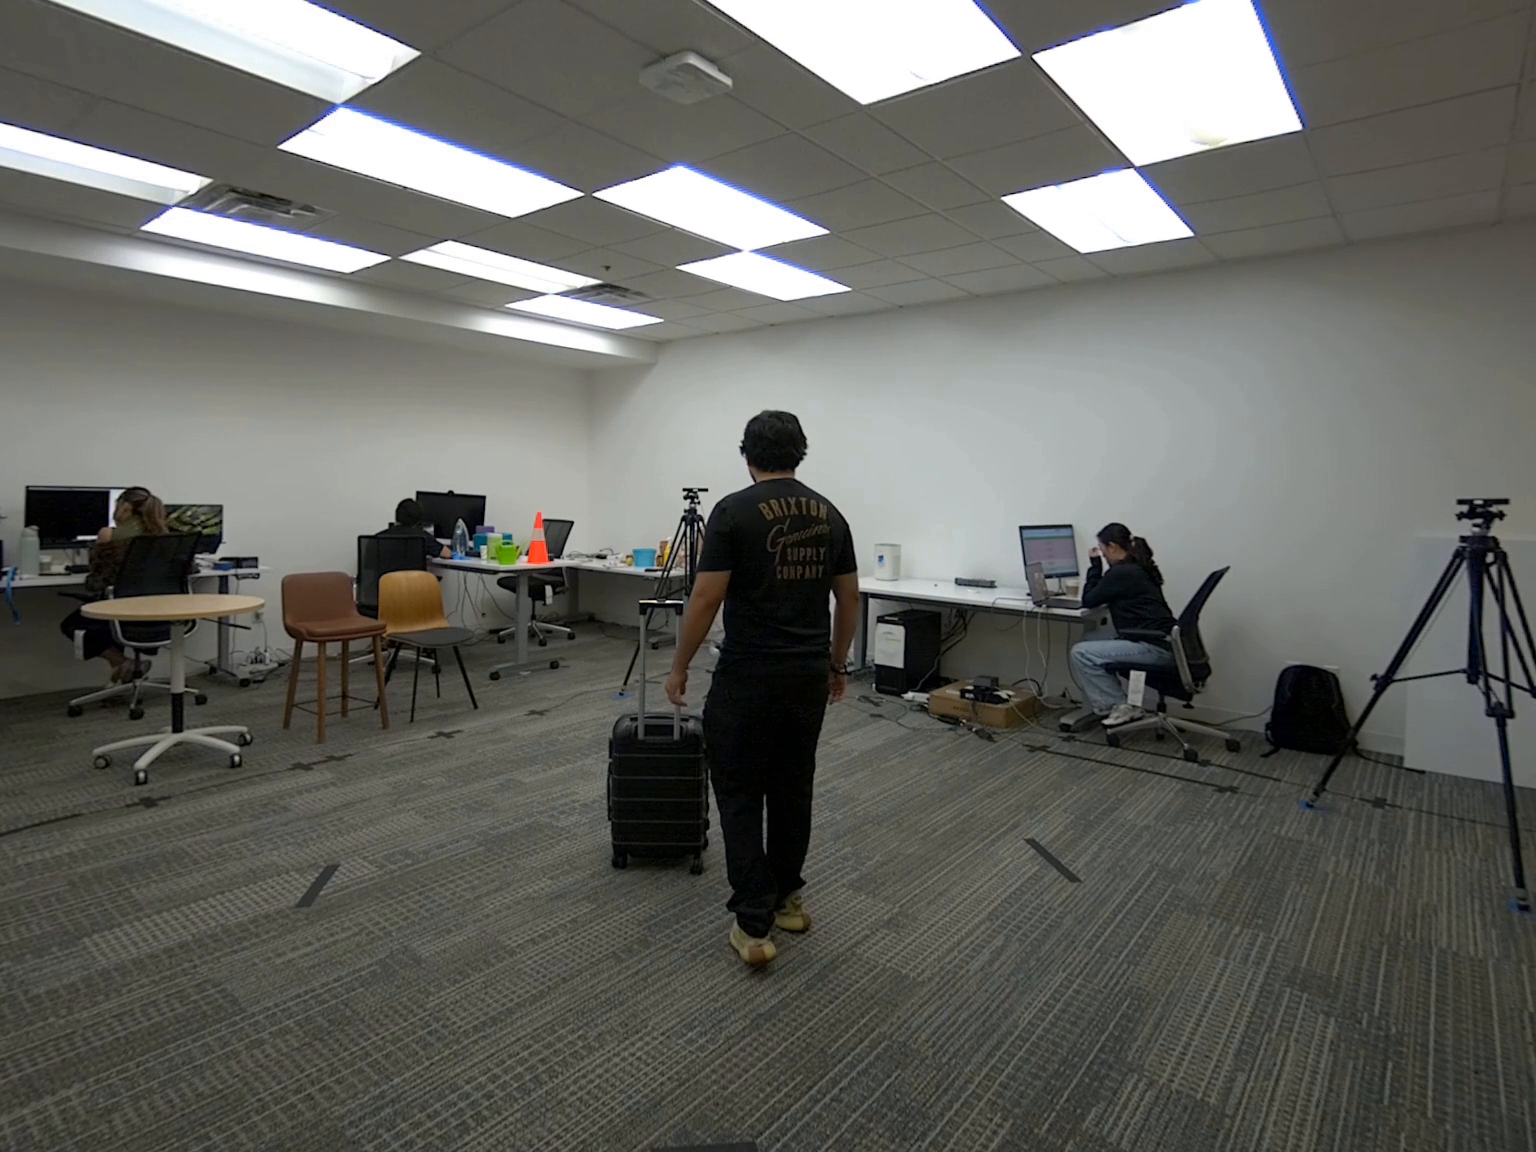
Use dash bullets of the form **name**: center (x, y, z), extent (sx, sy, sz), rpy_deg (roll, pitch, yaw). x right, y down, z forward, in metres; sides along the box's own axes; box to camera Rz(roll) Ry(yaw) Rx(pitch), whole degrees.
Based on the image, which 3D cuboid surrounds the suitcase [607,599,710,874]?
- **suitcase**: center (-0.417, 0.583, 3.181), extent (0.383, 0.978, 0.258), rpy_deg (0, 1, -2)
